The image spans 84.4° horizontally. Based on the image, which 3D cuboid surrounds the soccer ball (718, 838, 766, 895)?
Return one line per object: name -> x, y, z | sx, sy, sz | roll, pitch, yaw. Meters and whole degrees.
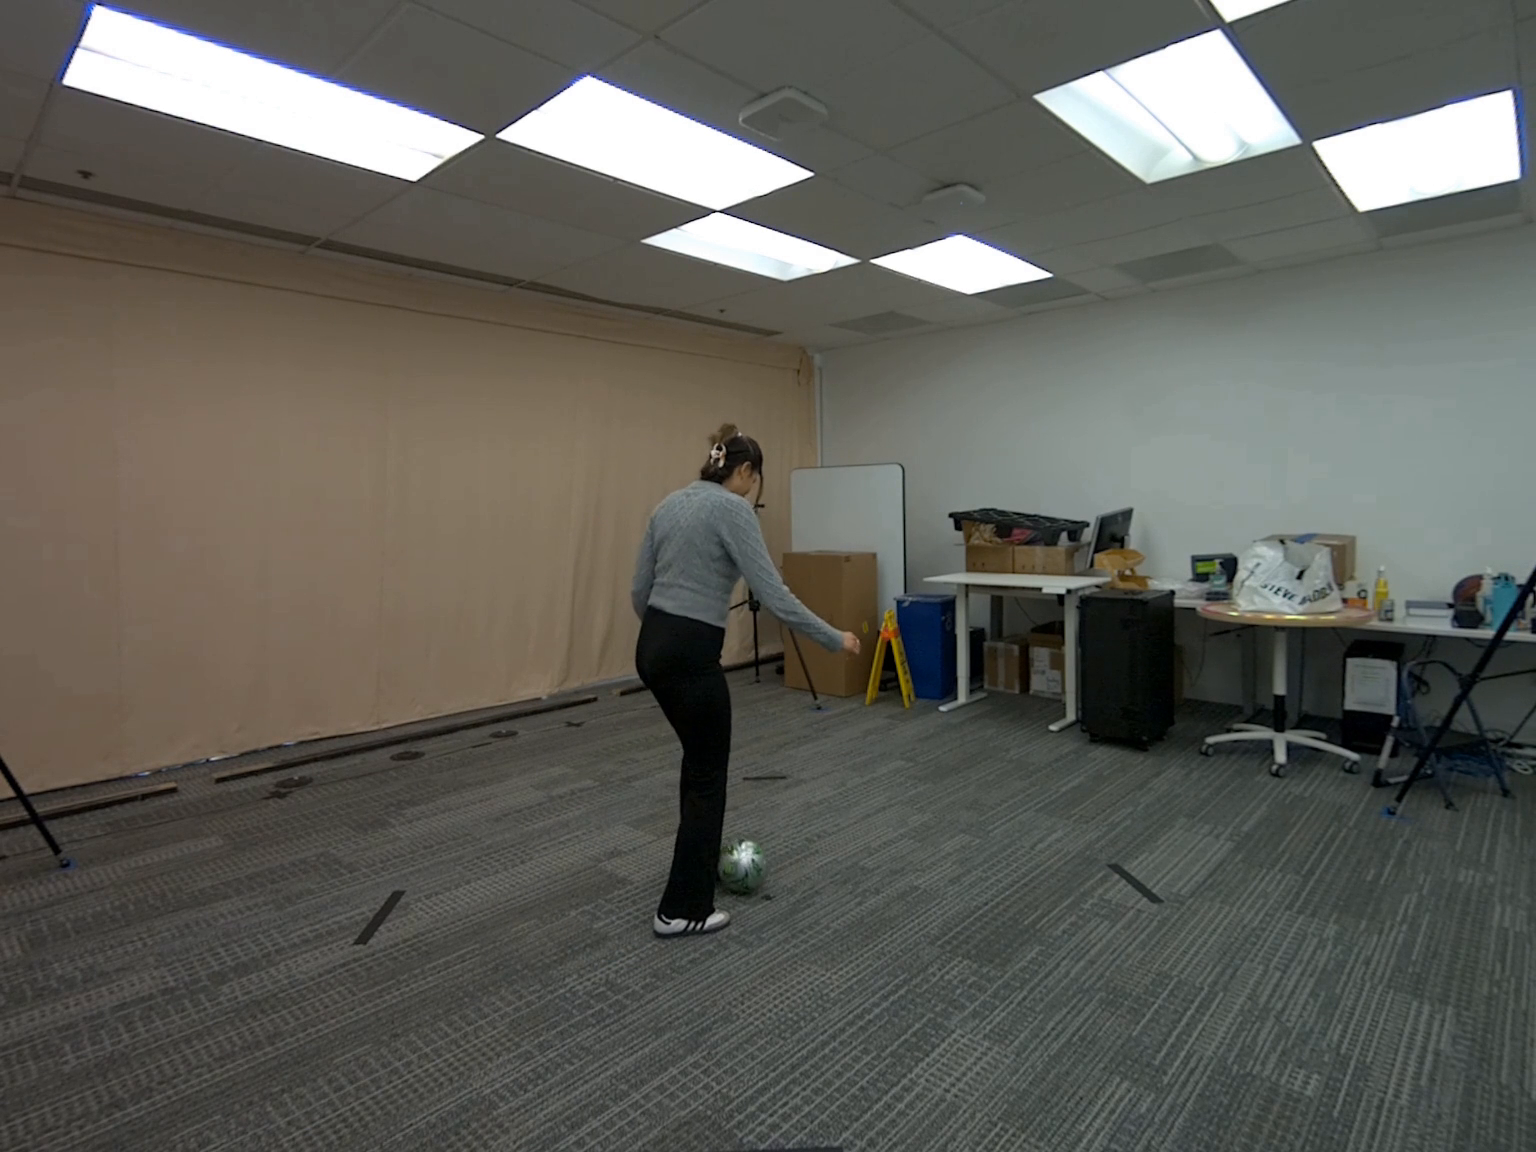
soccer ball -> -0.092, 1.043, 3.037 | 0.187, 0.187, 0.188 | -1, 4, -2
